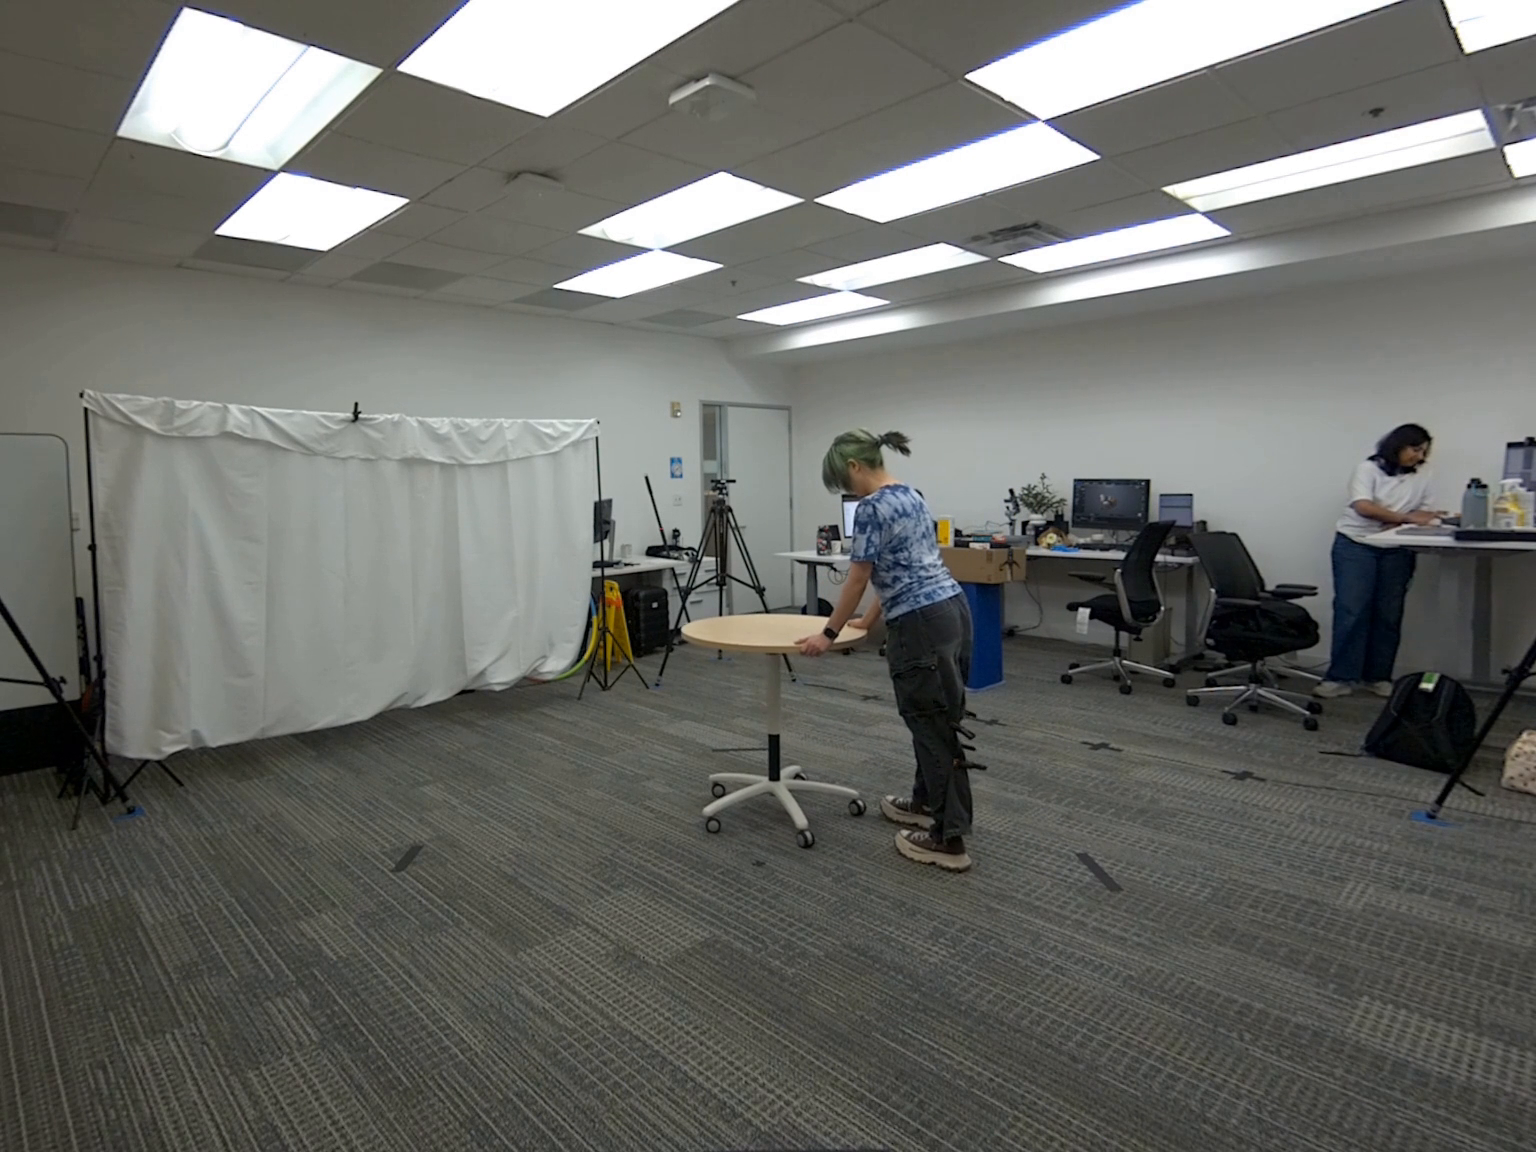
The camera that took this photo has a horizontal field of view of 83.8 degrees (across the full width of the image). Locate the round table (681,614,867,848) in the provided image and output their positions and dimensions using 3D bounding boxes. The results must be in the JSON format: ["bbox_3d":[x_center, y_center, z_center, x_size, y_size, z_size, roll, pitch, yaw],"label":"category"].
[{"bbox_3d":[0.030,0.606,3.564,0.763,0.791,0.768,0,5,-2],"label":"round table"}]
